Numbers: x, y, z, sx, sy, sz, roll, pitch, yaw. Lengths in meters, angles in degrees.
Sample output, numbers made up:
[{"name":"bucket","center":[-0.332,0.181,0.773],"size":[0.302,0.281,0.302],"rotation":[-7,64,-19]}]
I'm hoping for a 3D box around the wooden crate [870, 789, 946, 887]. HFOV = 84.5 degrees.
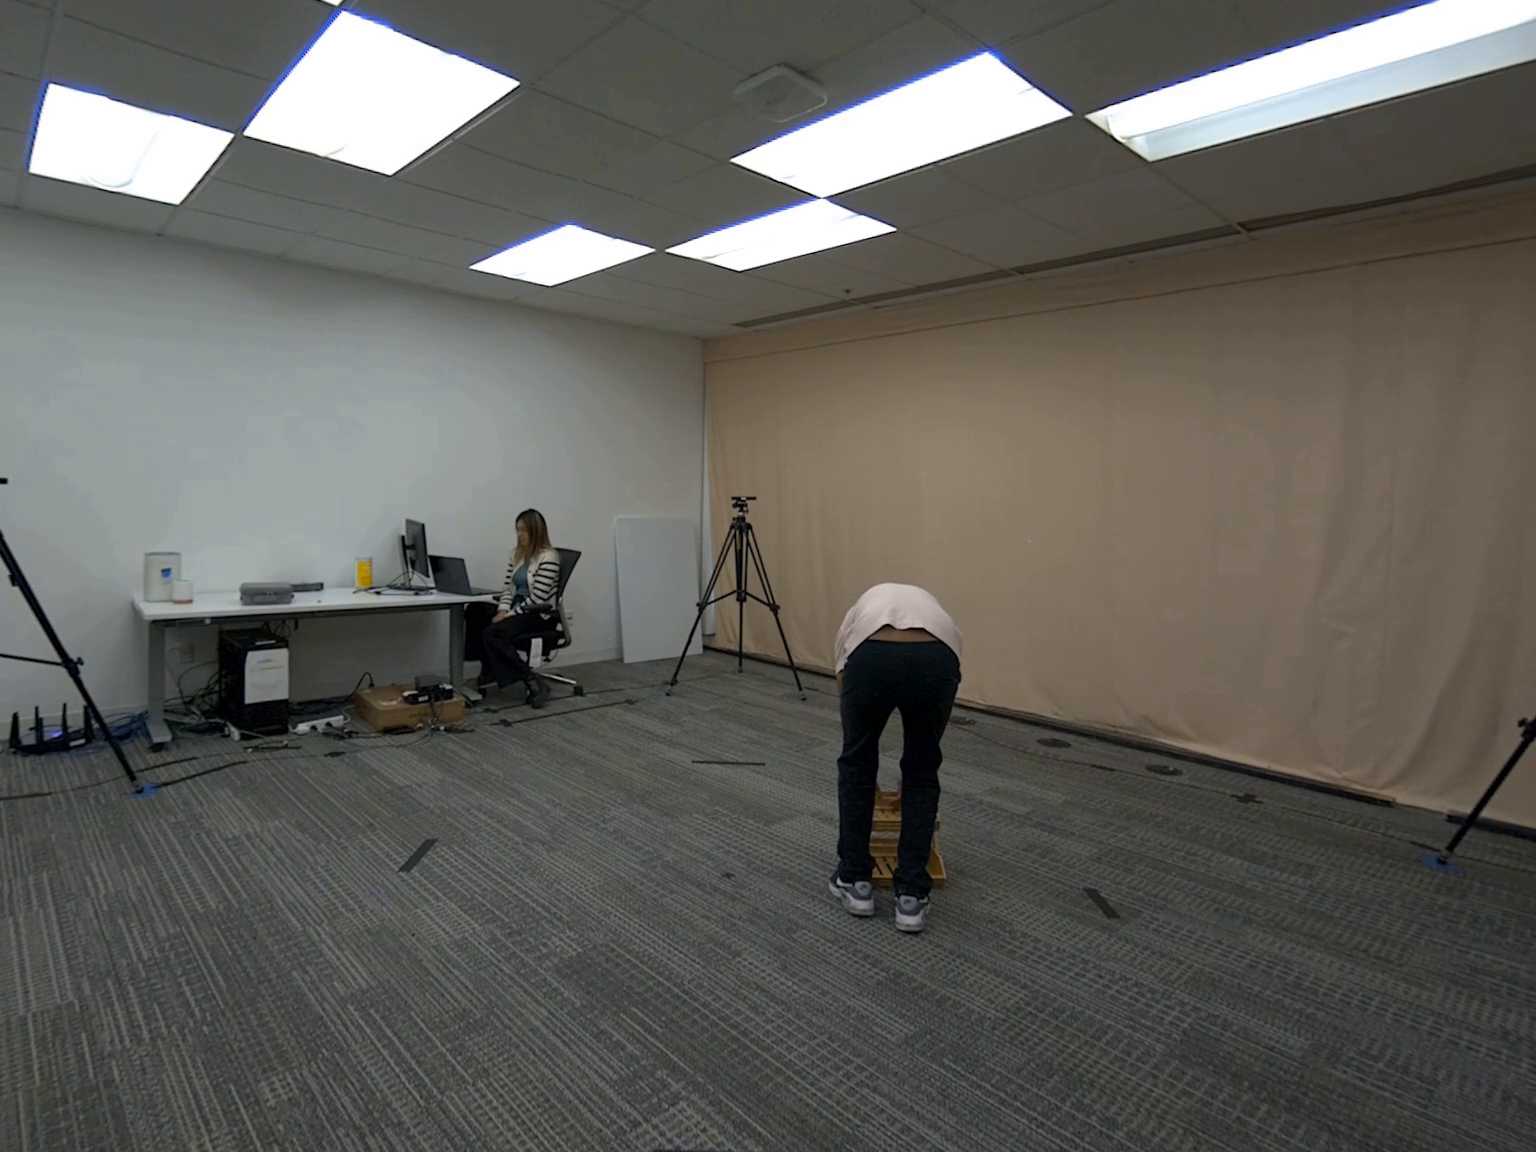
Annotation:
[{"name":"wooden crate","center":[0.481,0.983,3.161],"size":[0.323,0.273,0.304],"rotation":[2,2,-6]}]
